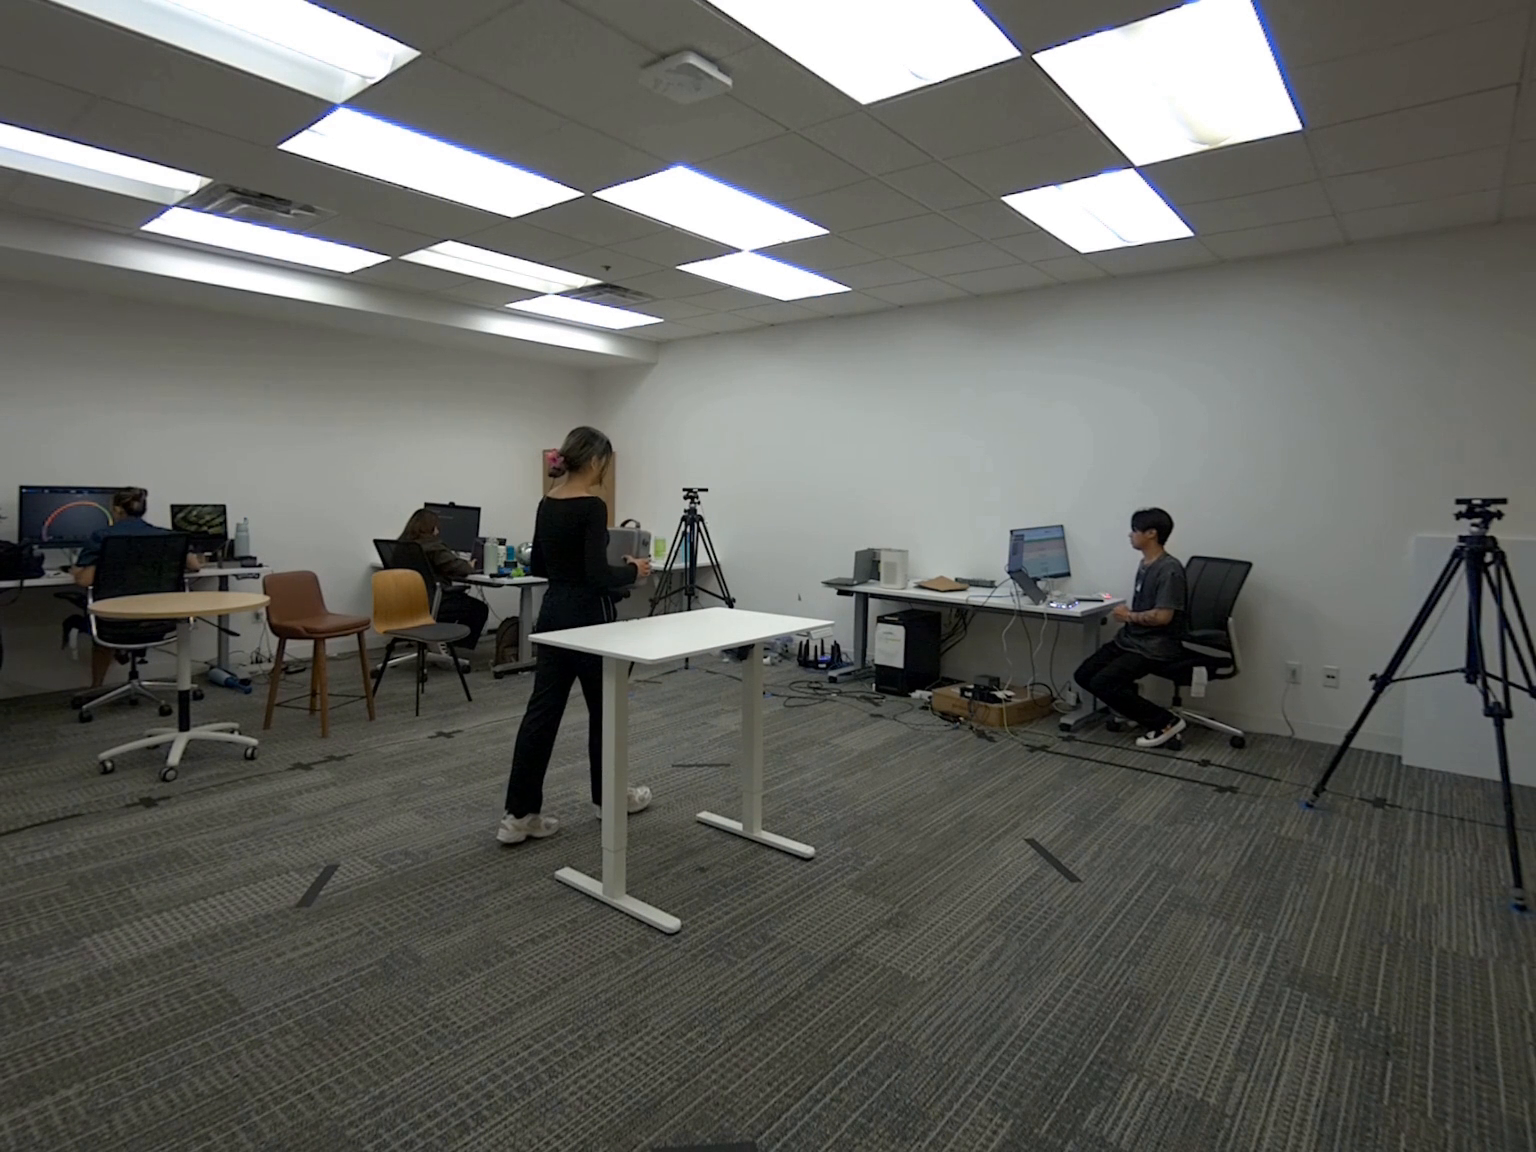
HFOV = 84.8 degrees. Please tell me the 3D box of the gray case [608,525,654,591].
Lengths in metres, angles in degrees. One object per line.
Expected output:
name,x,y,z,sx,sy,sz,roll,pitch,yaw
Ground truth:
gray case,-0.635,-0.084,3.643,0.100,0.261,0.265,12,-5,-41
